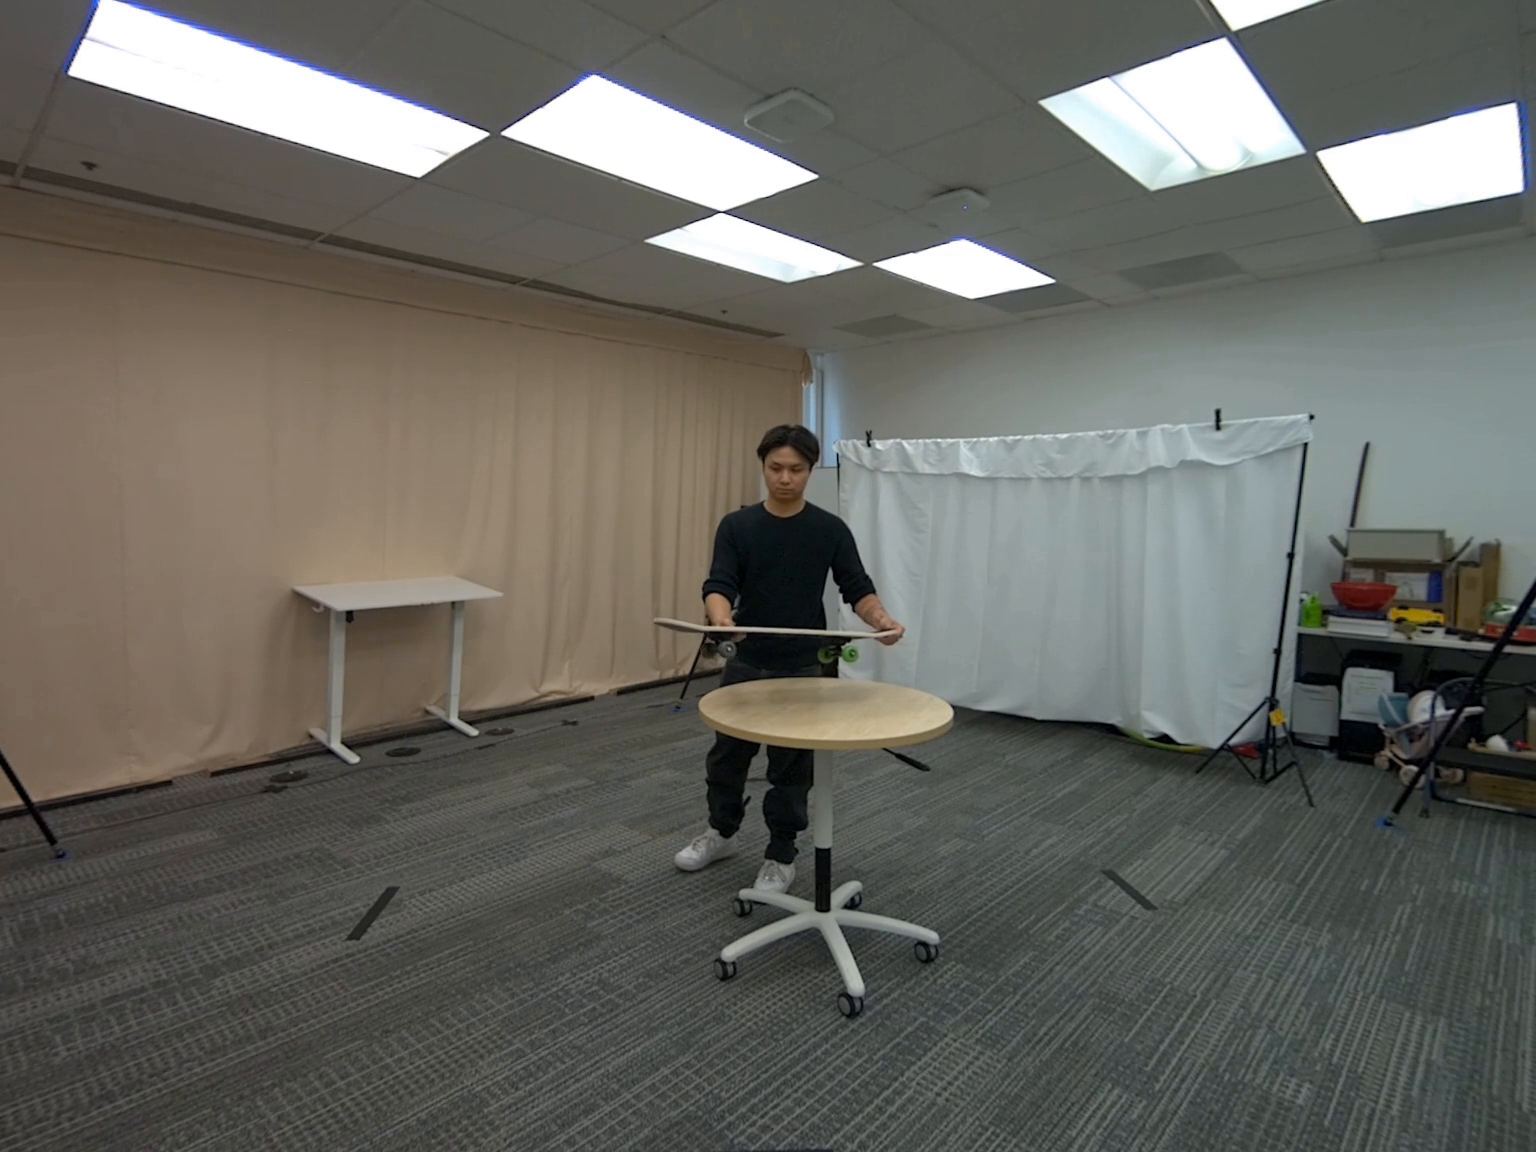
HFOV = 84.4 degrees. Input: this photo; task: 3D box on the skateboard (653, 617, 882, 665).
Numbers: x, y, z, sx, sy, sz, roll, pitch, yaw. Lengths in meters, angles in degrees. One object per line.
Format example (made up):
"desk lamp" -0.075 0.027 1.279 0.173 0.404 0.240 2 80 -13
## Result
"skateboard" 0.035 0.216 2.557 0.768 0.111 0.197 5 -7 -22
